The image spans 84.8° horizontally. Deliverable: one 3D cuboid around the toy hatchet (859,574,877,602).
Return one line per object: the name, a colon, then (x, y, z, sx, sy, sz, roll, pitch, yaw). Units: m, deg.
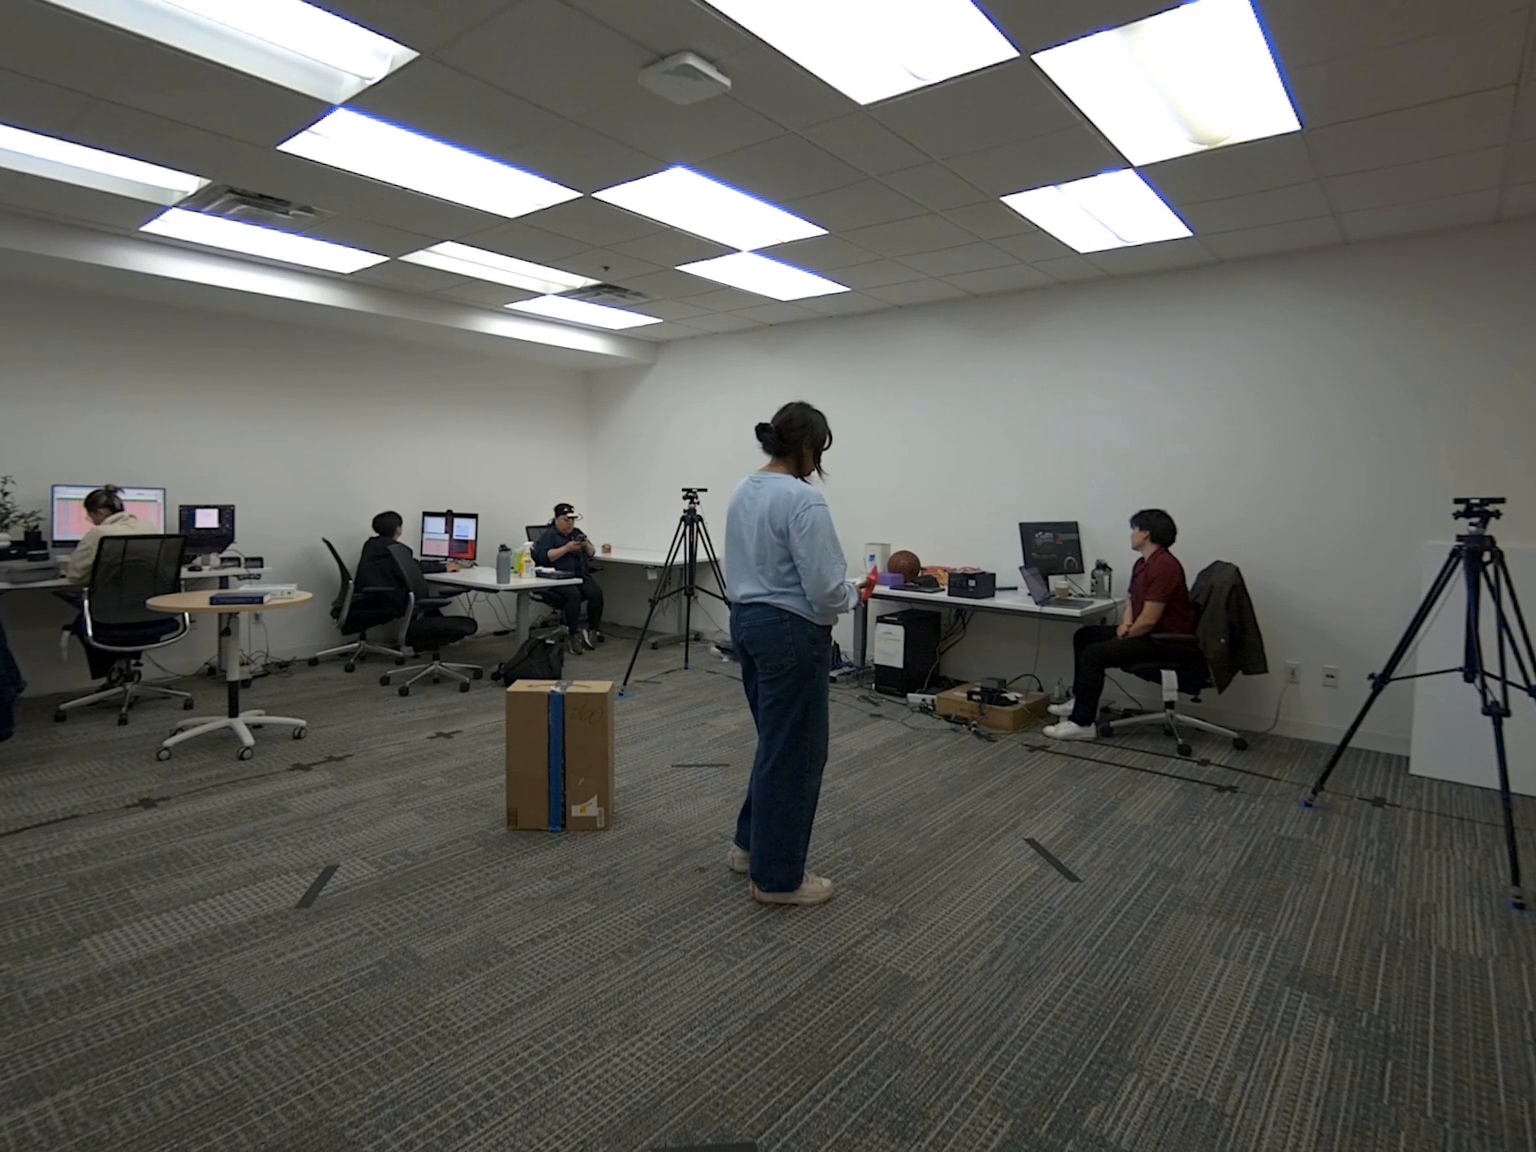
toy hatchet: (0.314, 0.064, 3.038, 0.031, 0.127, 0.268, 25, 44, 29)
